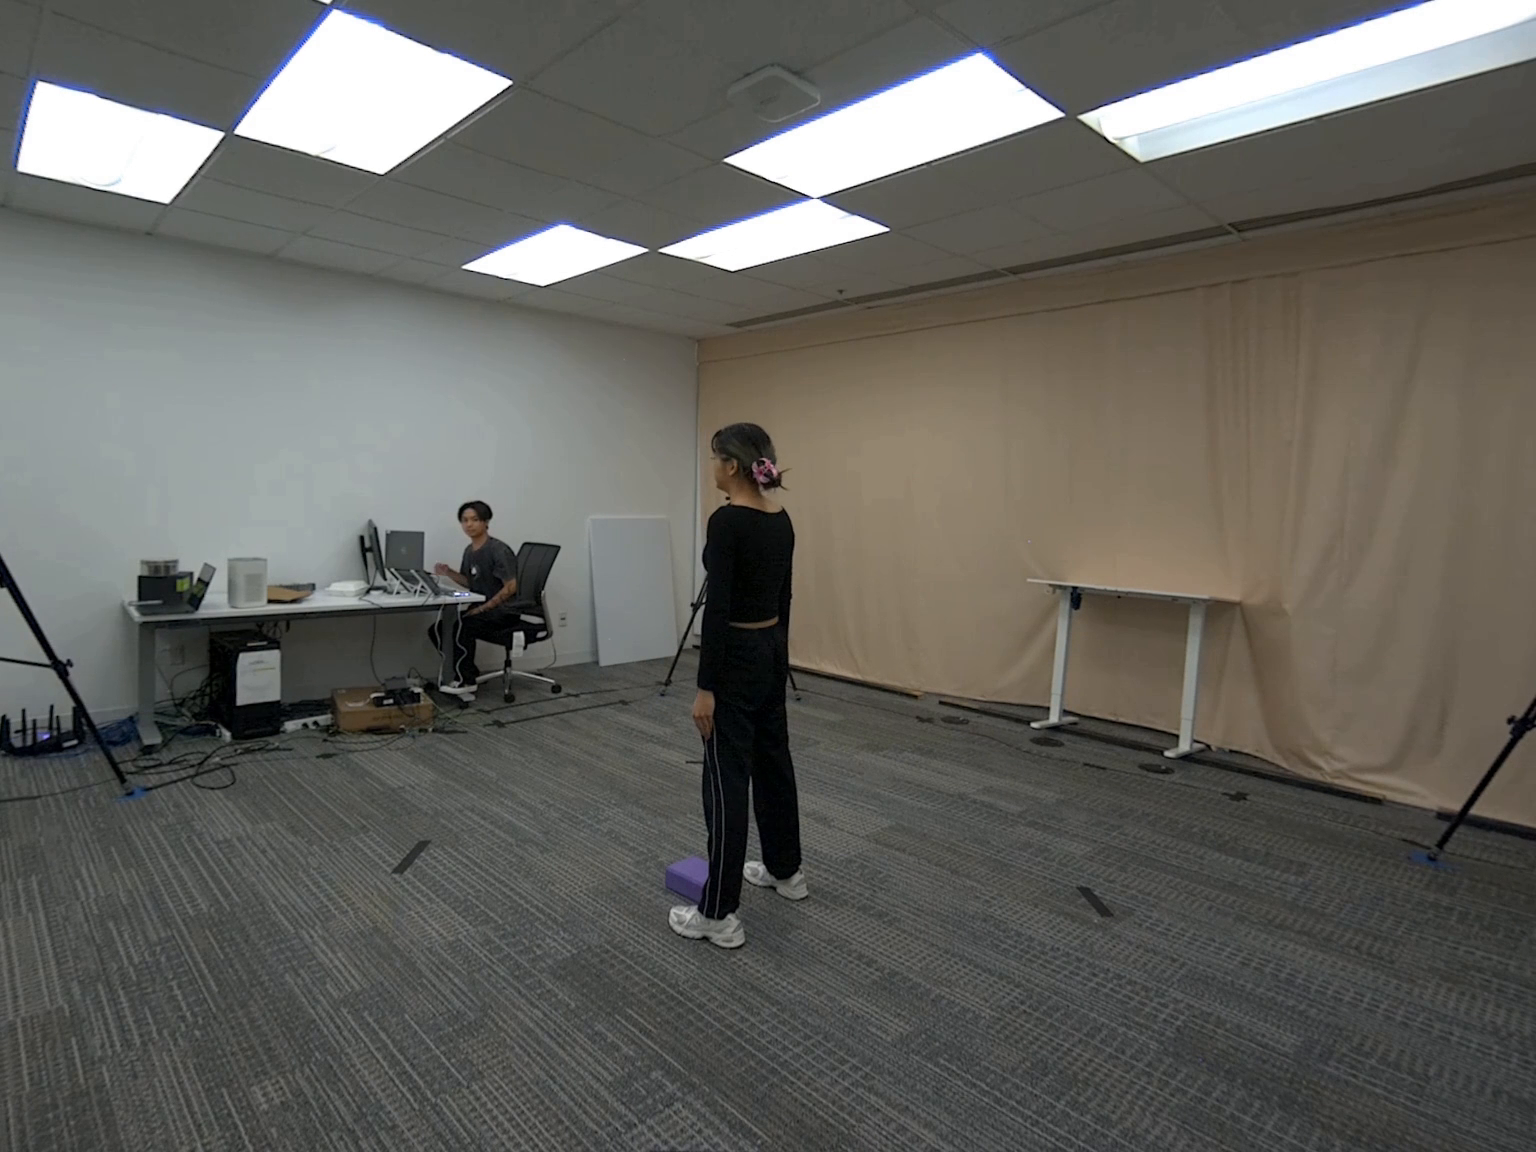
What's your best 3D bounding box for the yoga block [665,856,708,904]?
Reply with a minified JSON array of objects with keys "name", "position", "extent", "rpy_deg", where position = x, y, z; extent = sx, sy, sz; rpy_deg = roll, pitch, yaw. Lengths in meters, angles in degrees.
[{"name":"yoga block","position":[-0.241,1.074,2.974],"extent":[0.235,0.076,0.146],"rpy_deg":[4,7,41]}]
